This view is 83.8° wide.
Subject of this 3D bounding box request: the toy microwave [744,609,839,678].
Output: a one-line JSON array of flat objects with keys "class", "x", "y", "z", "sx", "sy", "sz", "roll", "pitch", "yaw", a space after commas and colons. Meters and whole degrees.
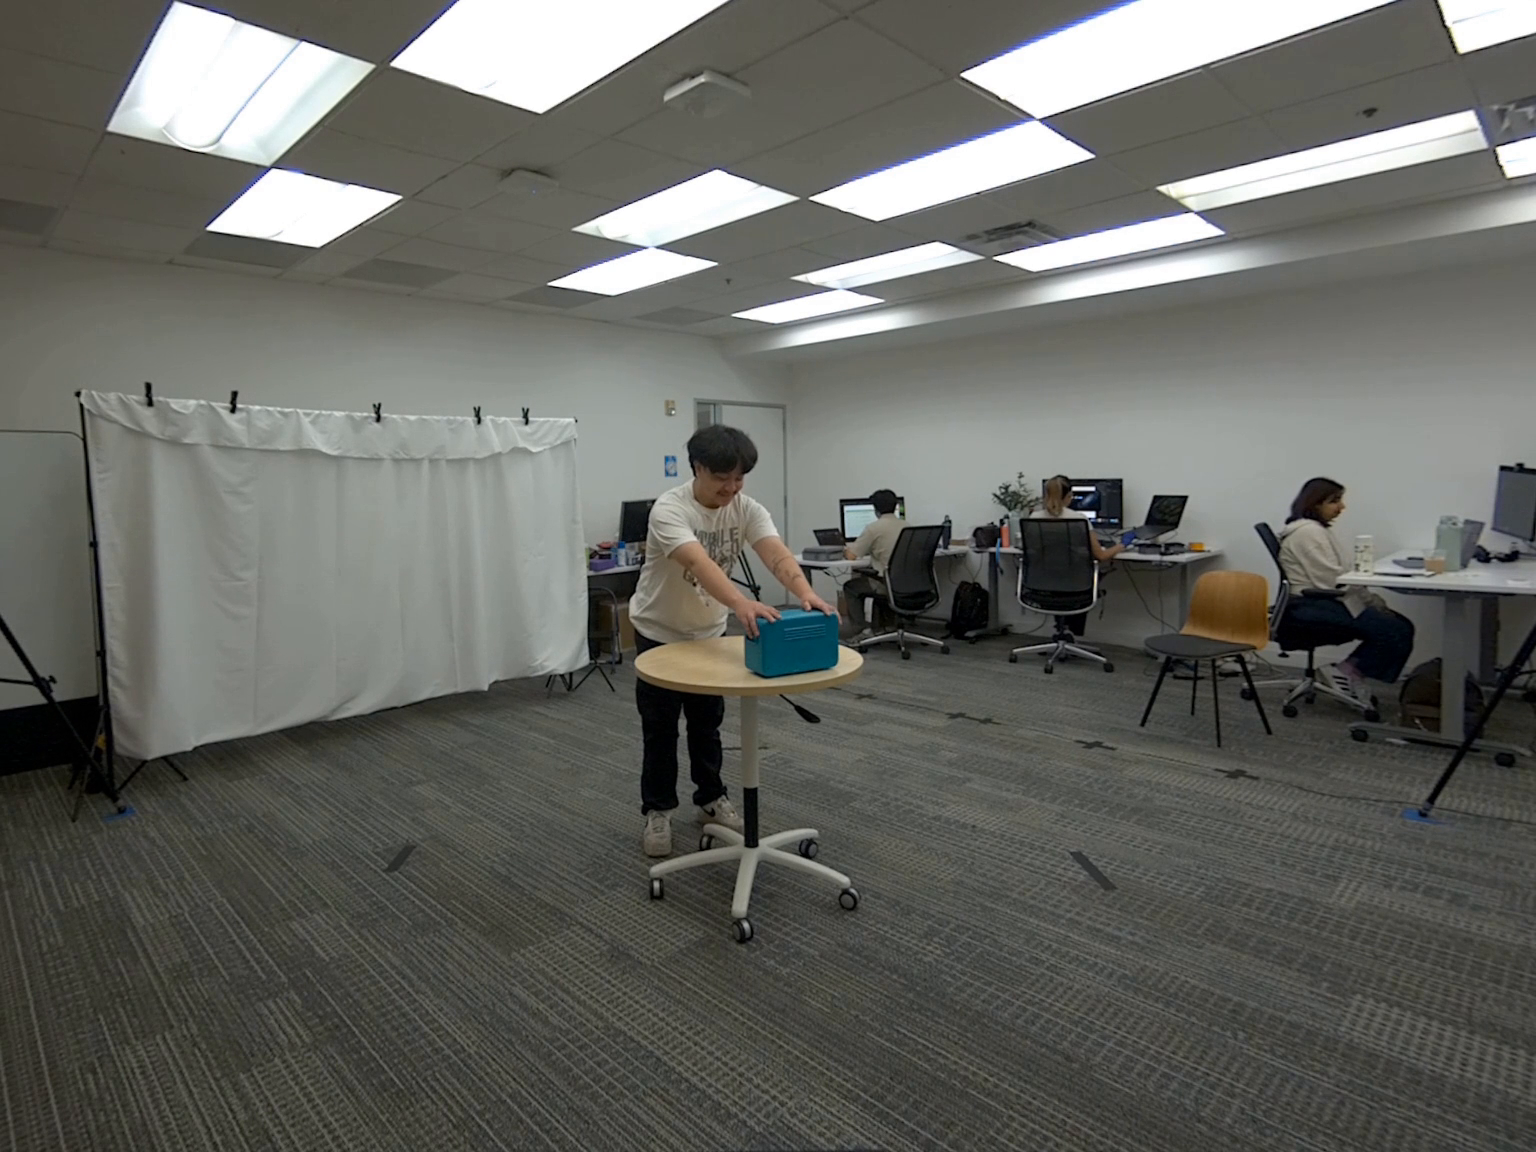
[{"class": "toy microwave", "x": 0.073, "y": 0.205, "z": 2.698, "sx": 0.280, "sy": 0.183, "sz": 0.156, "roll": -5, "pitch": 6, "yaw": -28}]
